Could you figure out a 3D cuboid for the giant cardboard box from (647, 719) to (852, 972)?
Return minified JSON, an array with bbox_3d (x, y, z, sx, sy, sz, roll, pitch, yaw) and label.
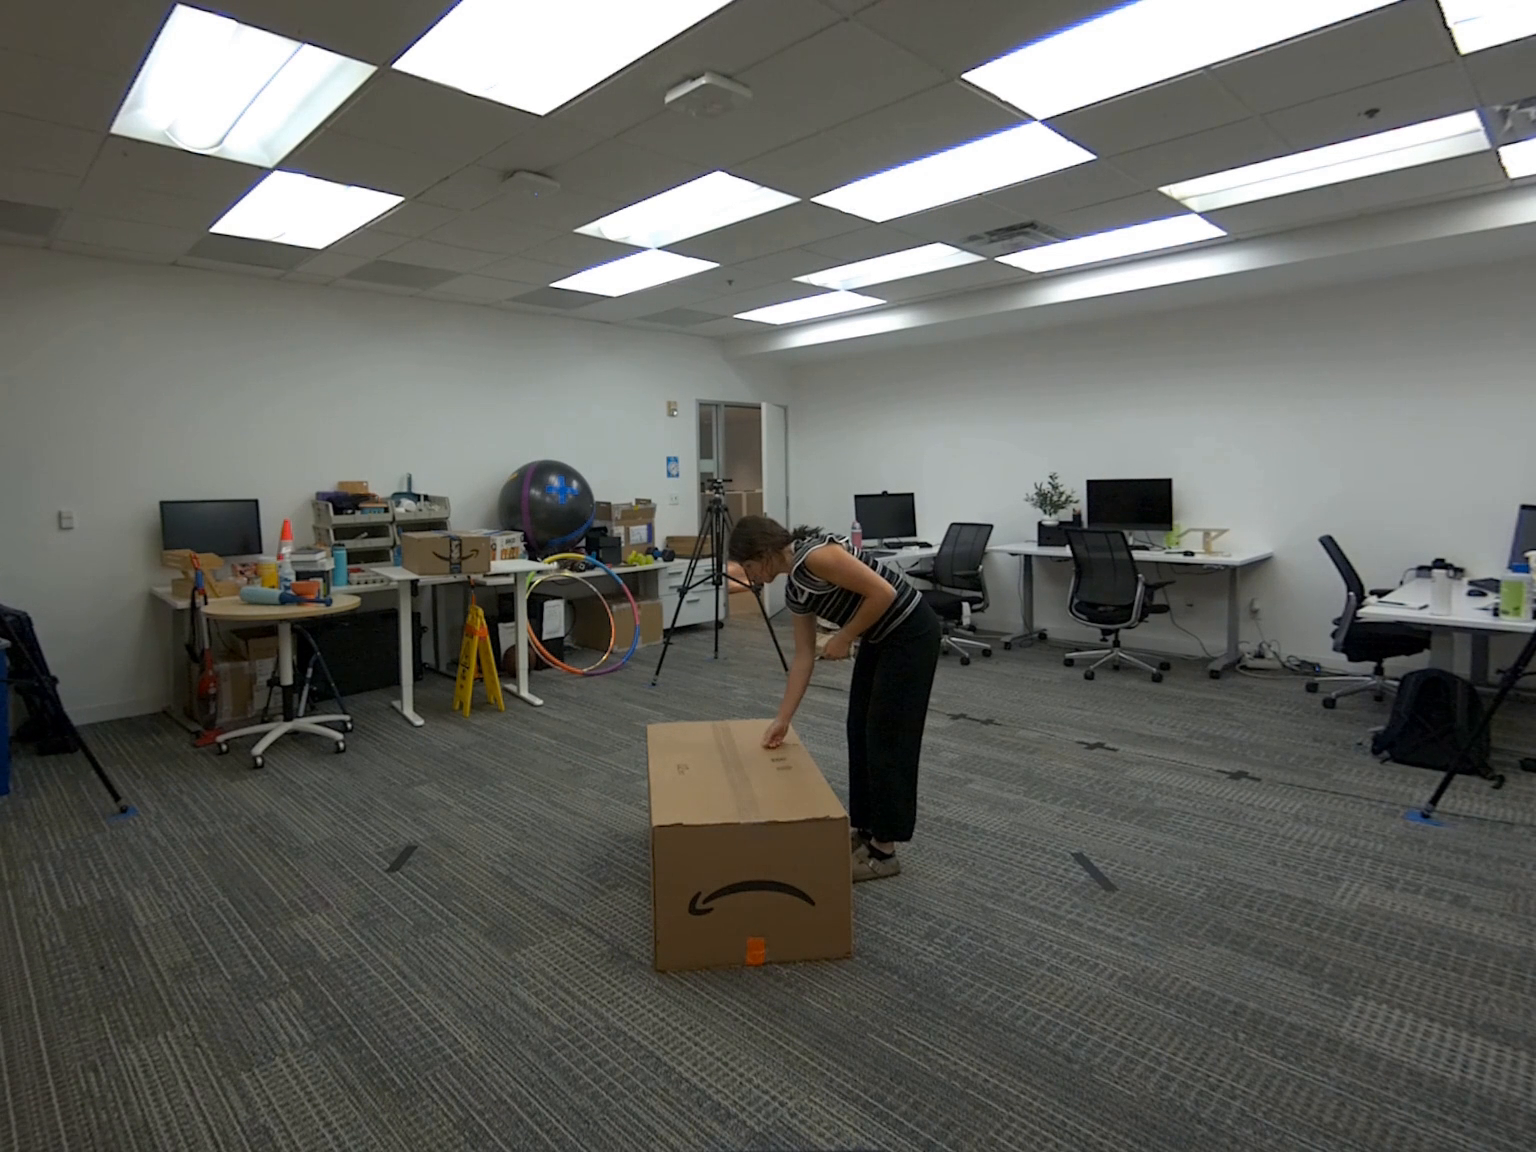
[{"bbox_3d":[-0.122,0.855,2.947,0.573,0.424,1.038,-1,6,-8],"label":"giant cardboard box"}]
